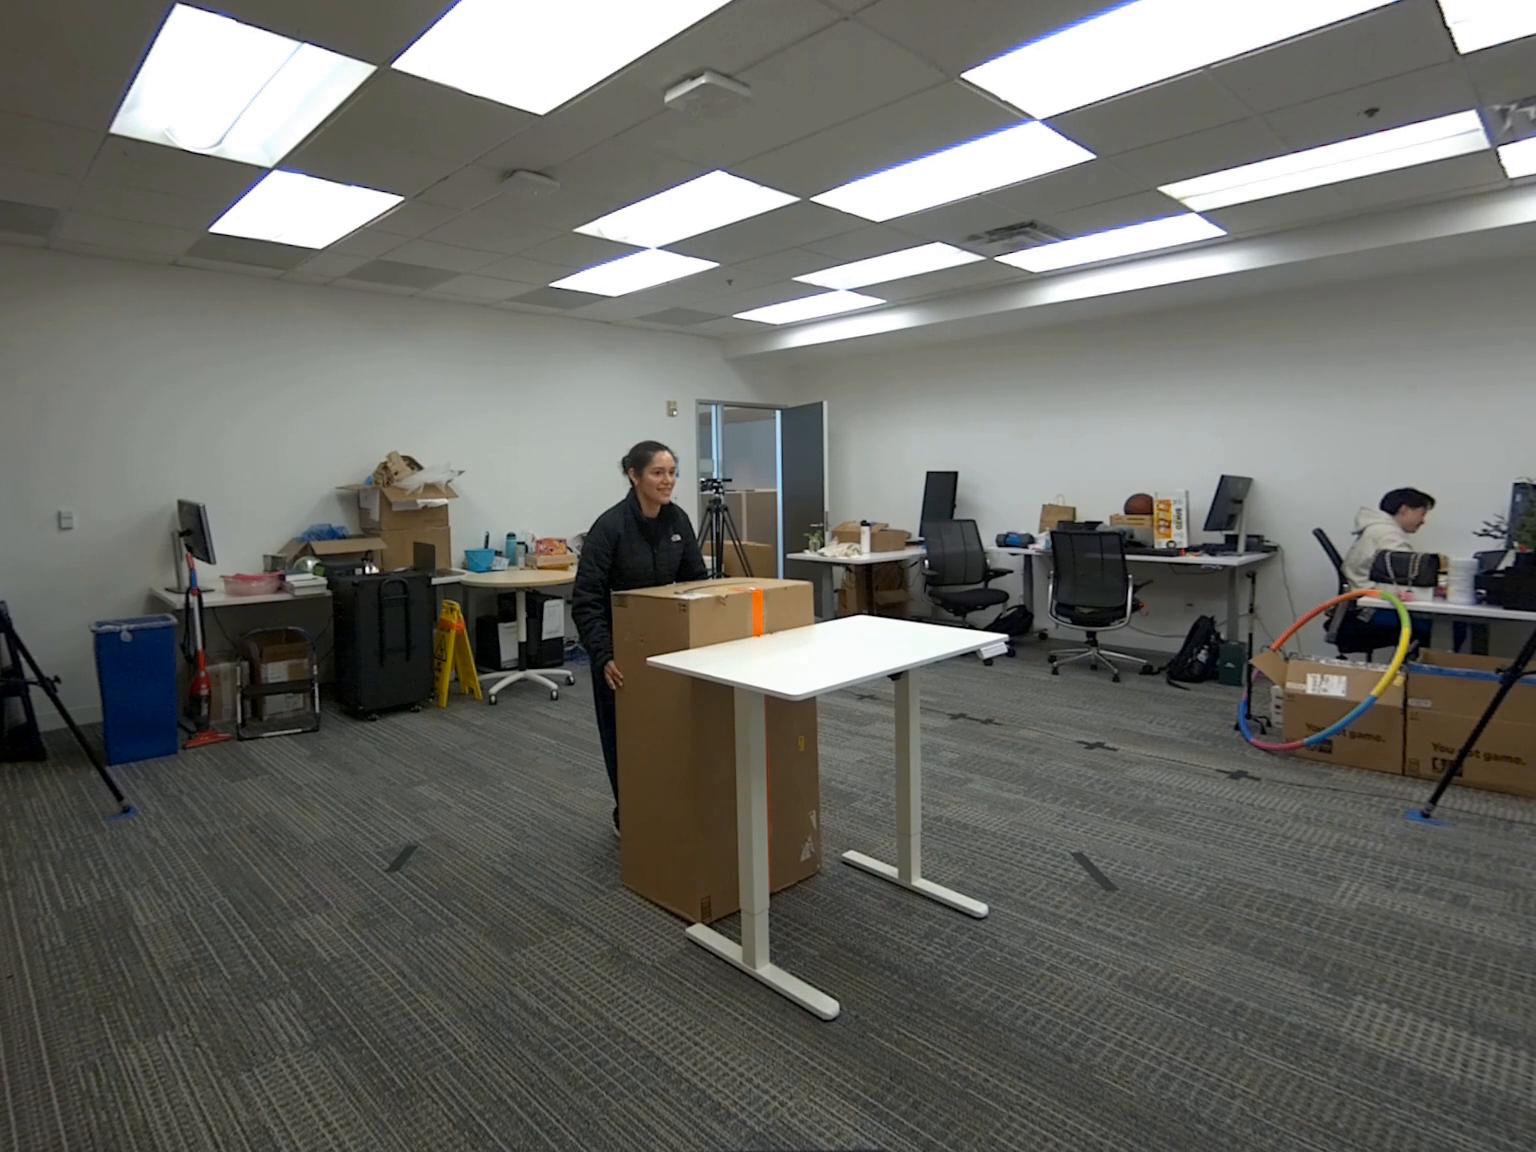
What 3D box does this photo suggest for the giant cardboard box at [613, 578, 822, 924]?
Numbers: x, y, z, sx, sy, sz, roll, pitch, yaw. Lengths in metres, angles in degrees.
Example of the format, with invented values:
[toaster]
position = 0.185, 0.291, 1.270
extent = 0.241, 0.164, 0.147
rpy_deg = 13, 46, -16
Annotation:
[giant cardboard box]
position = -0.172, 0.546, 2.978
extent = 0.568, 1.025, 0.460
rpy_deg = -4, 4, -43
